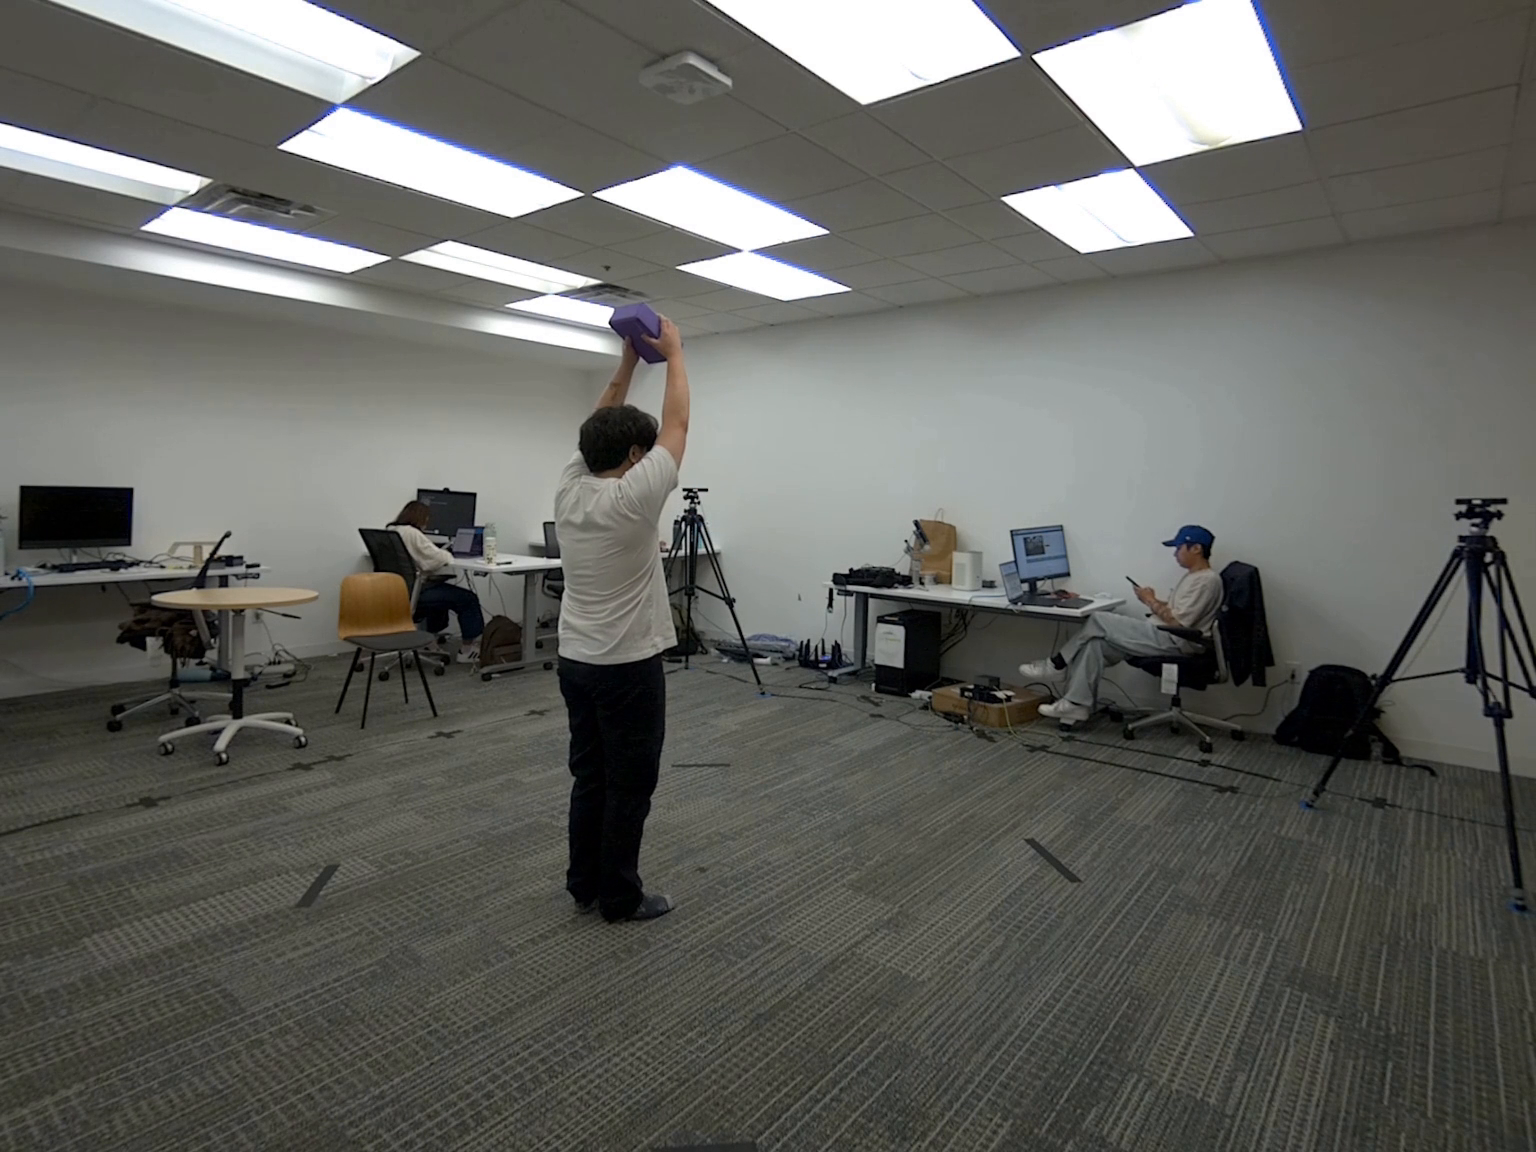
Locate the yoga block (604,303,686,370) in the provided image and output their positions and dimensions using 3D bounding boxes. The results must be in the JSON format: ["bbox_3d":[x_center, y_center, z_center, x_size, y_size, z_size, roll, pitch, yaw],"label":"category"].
[{"bbox_3d":[-0.419,-0.812,2.861,0.154,0.077,0.220,4,-26,40],"label":"yoga block"}]
